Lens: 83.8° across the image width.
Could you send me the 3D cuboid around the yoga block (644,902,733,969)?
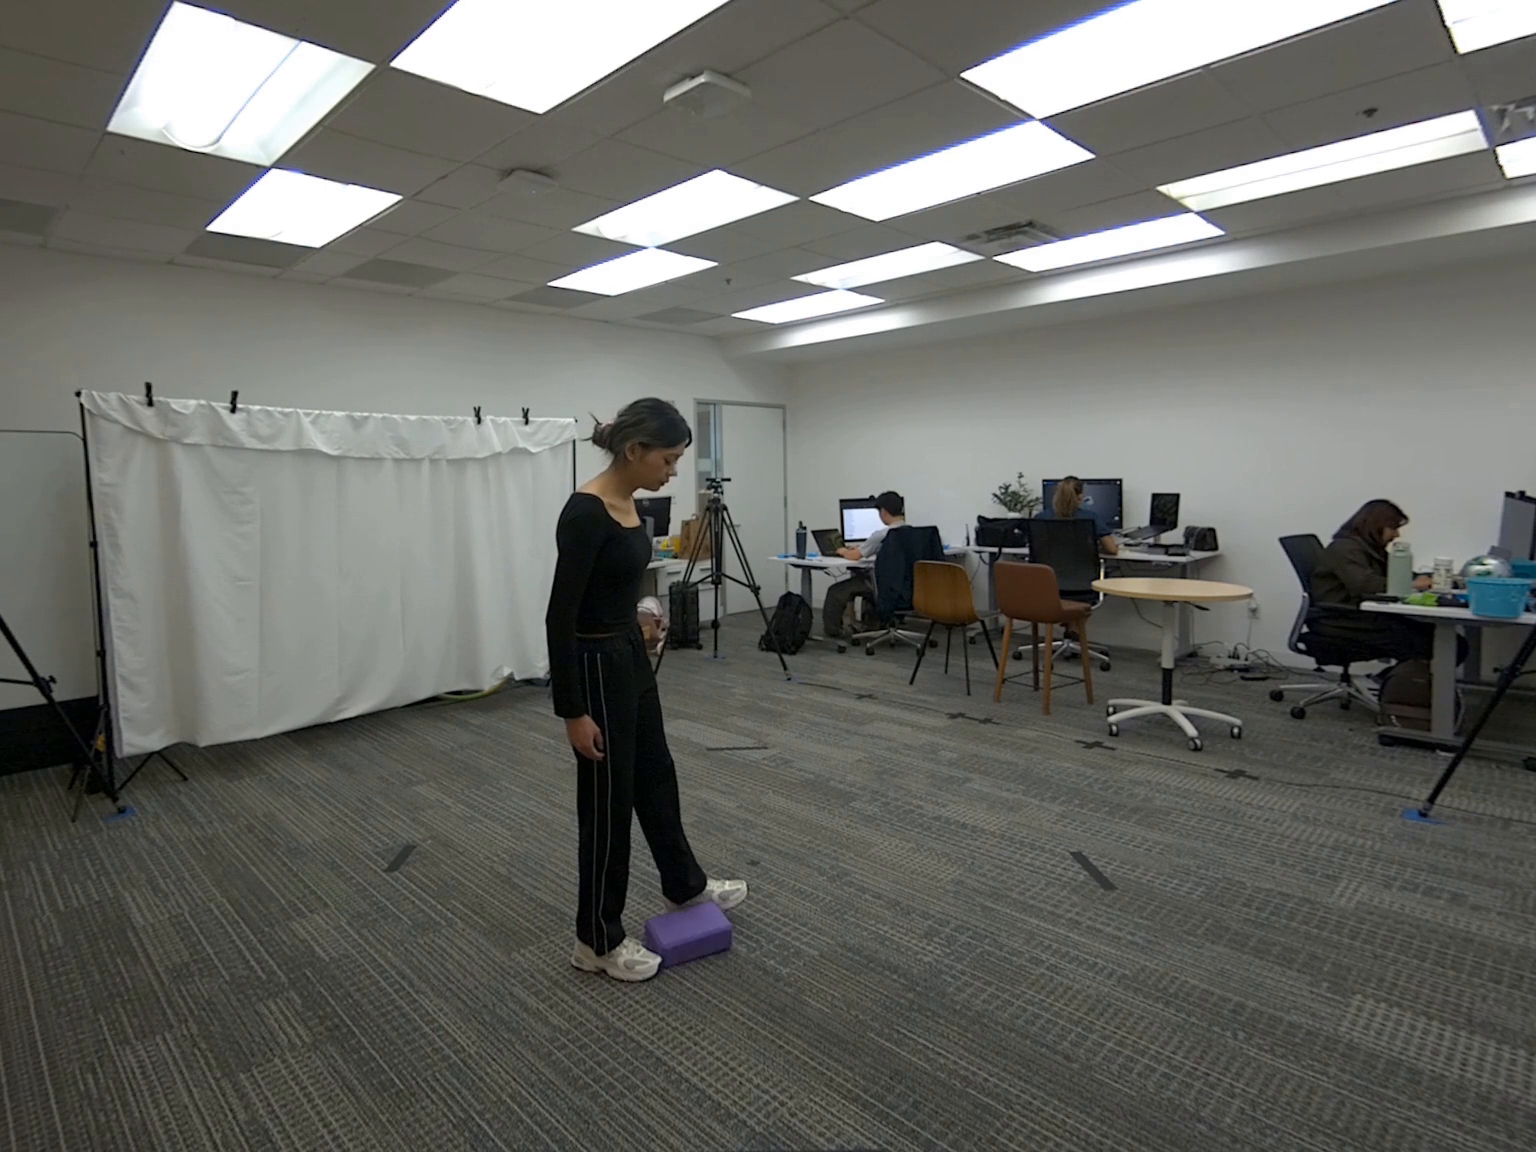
[{"bbox_3d":[-0.245,1.069,2.543,0.224,0.076,0.154,-5,14,-27],"label":"yoga block"}]
